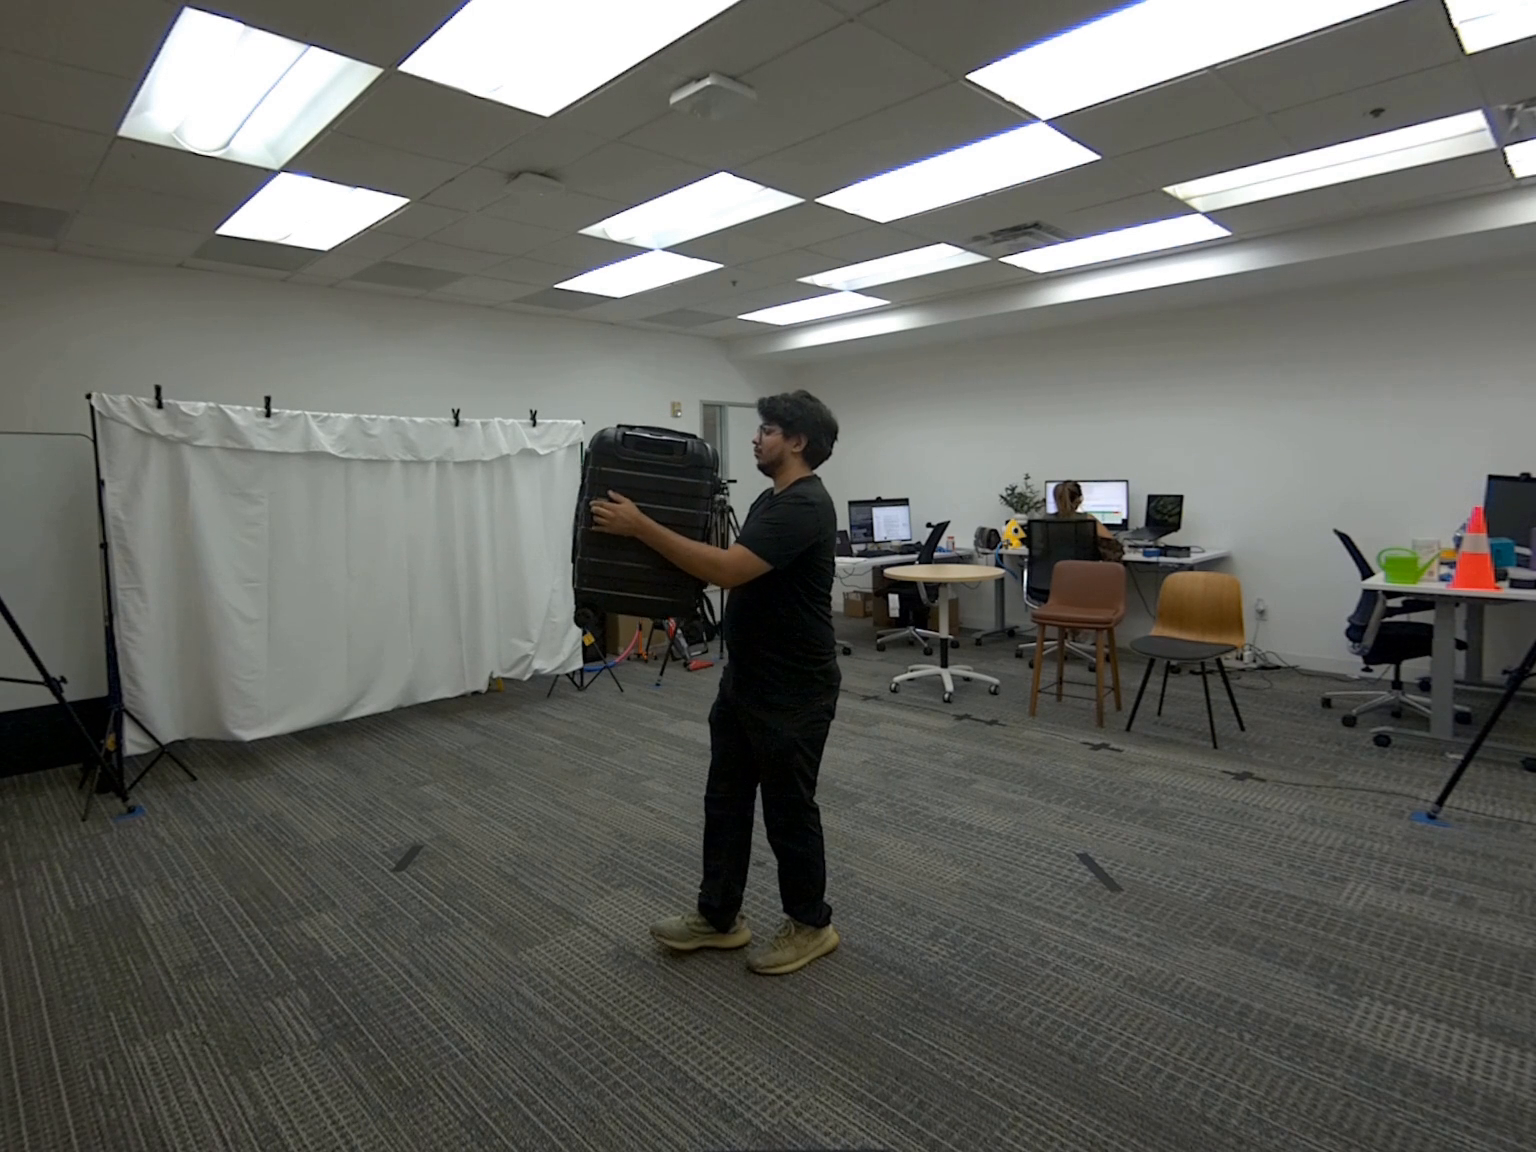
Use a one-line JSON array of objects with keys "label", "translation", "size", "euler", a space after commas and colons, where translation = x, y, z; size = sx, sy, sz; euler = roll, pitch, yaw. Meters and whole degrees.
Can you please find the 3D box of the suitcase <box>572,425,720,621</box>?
[{"label": "suitcase", "translation": [-0.334, -0.138, 2.354], "size": [0.374, 0.547, 0.250], "euler": [7, 5, -4]}]
